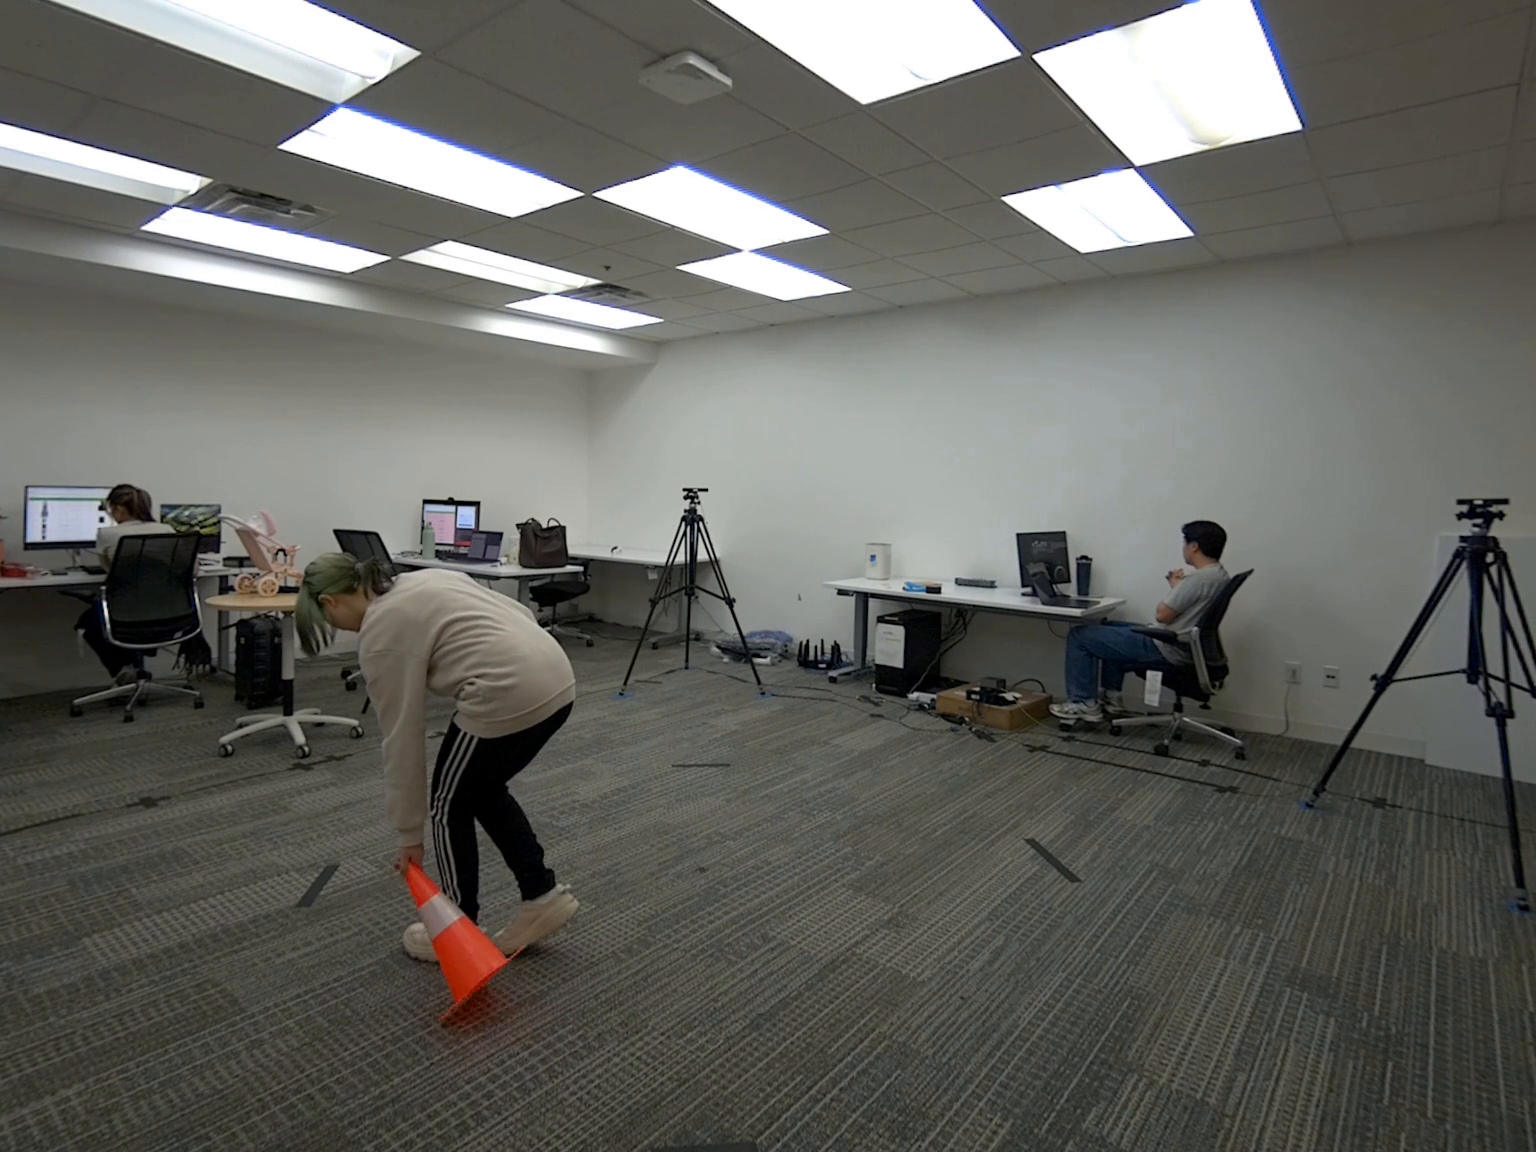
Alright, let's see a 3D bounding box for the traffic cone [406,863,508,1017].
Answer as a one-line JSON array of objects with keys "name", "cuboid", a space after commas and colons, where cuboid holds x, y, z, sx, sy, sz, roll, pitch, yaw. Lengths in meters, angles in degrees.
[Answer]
[{"name": "traffic cone", "cuboid": [-0.883, 0.936, 2.281, 0.391, 0.203, 0.201, 47, 18, 13]}]
